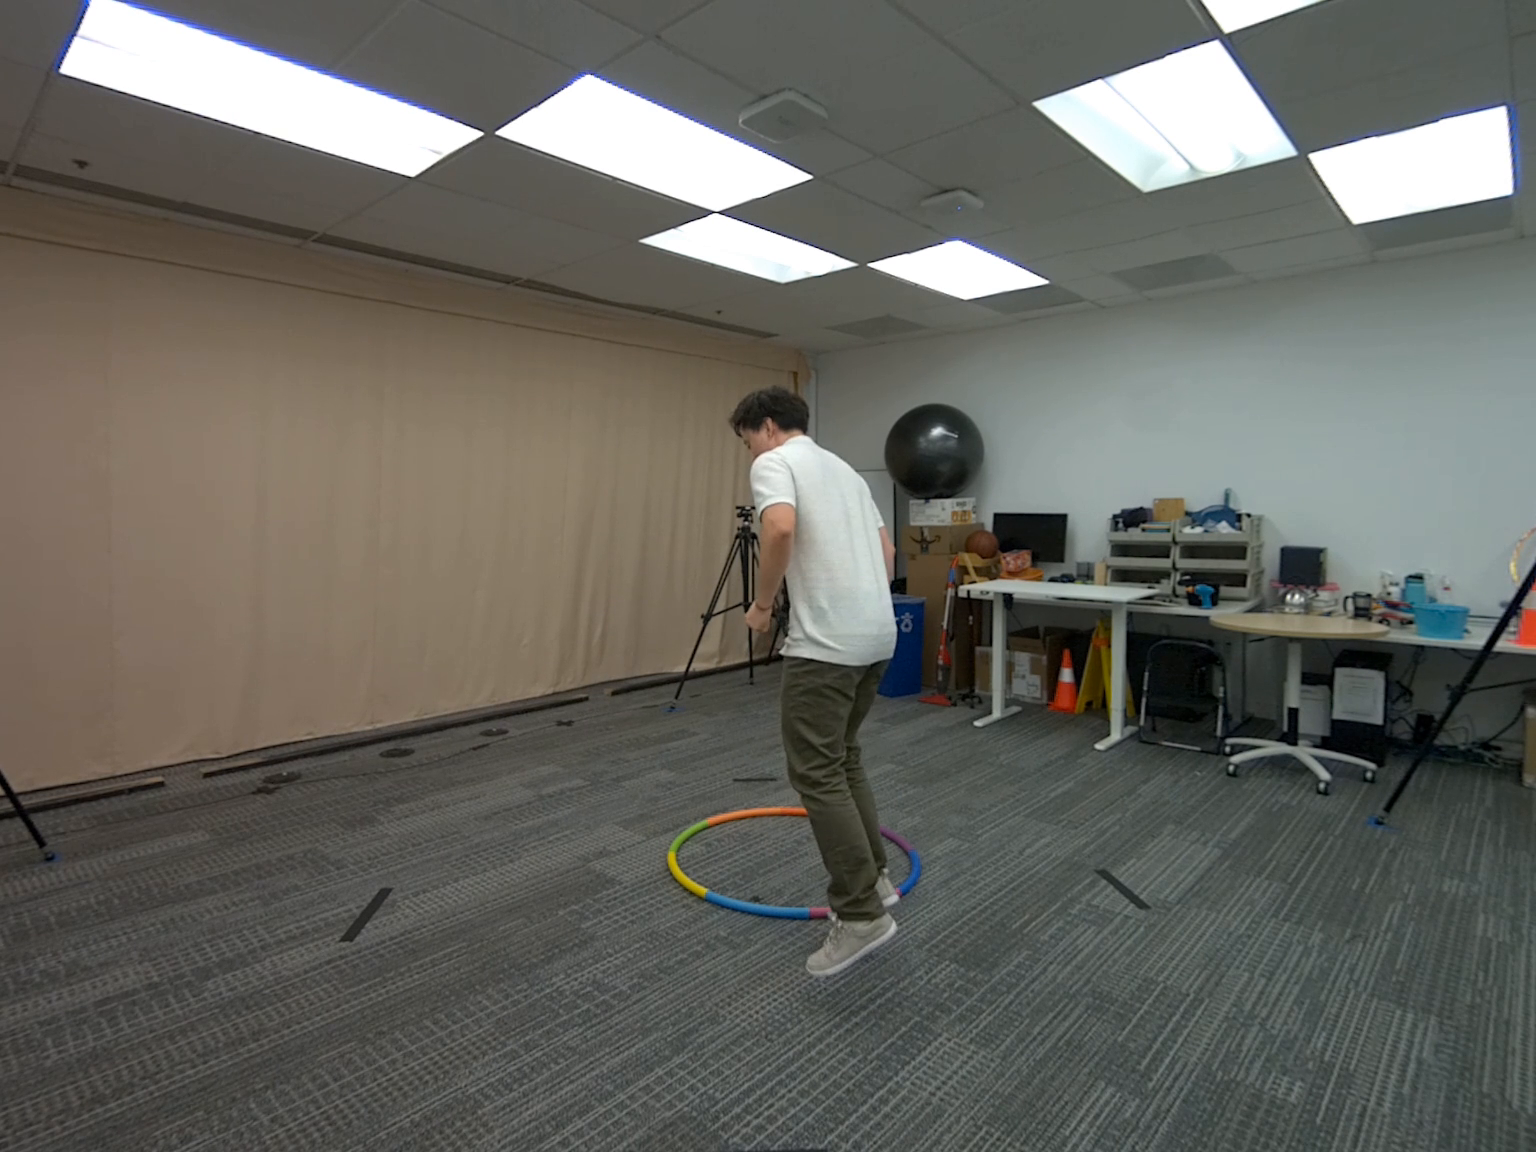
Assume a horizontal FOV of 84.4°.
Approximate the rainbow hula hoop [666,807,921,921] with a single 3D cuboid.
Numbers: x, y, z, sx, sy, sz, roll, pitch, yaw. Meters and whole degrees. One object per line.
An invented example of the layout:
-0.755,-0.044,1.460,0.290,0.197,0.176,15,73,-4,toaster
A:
0.097,1.087,3.313,0.978,0.035,0.982,0,5,-2,rainbow hula hoop
